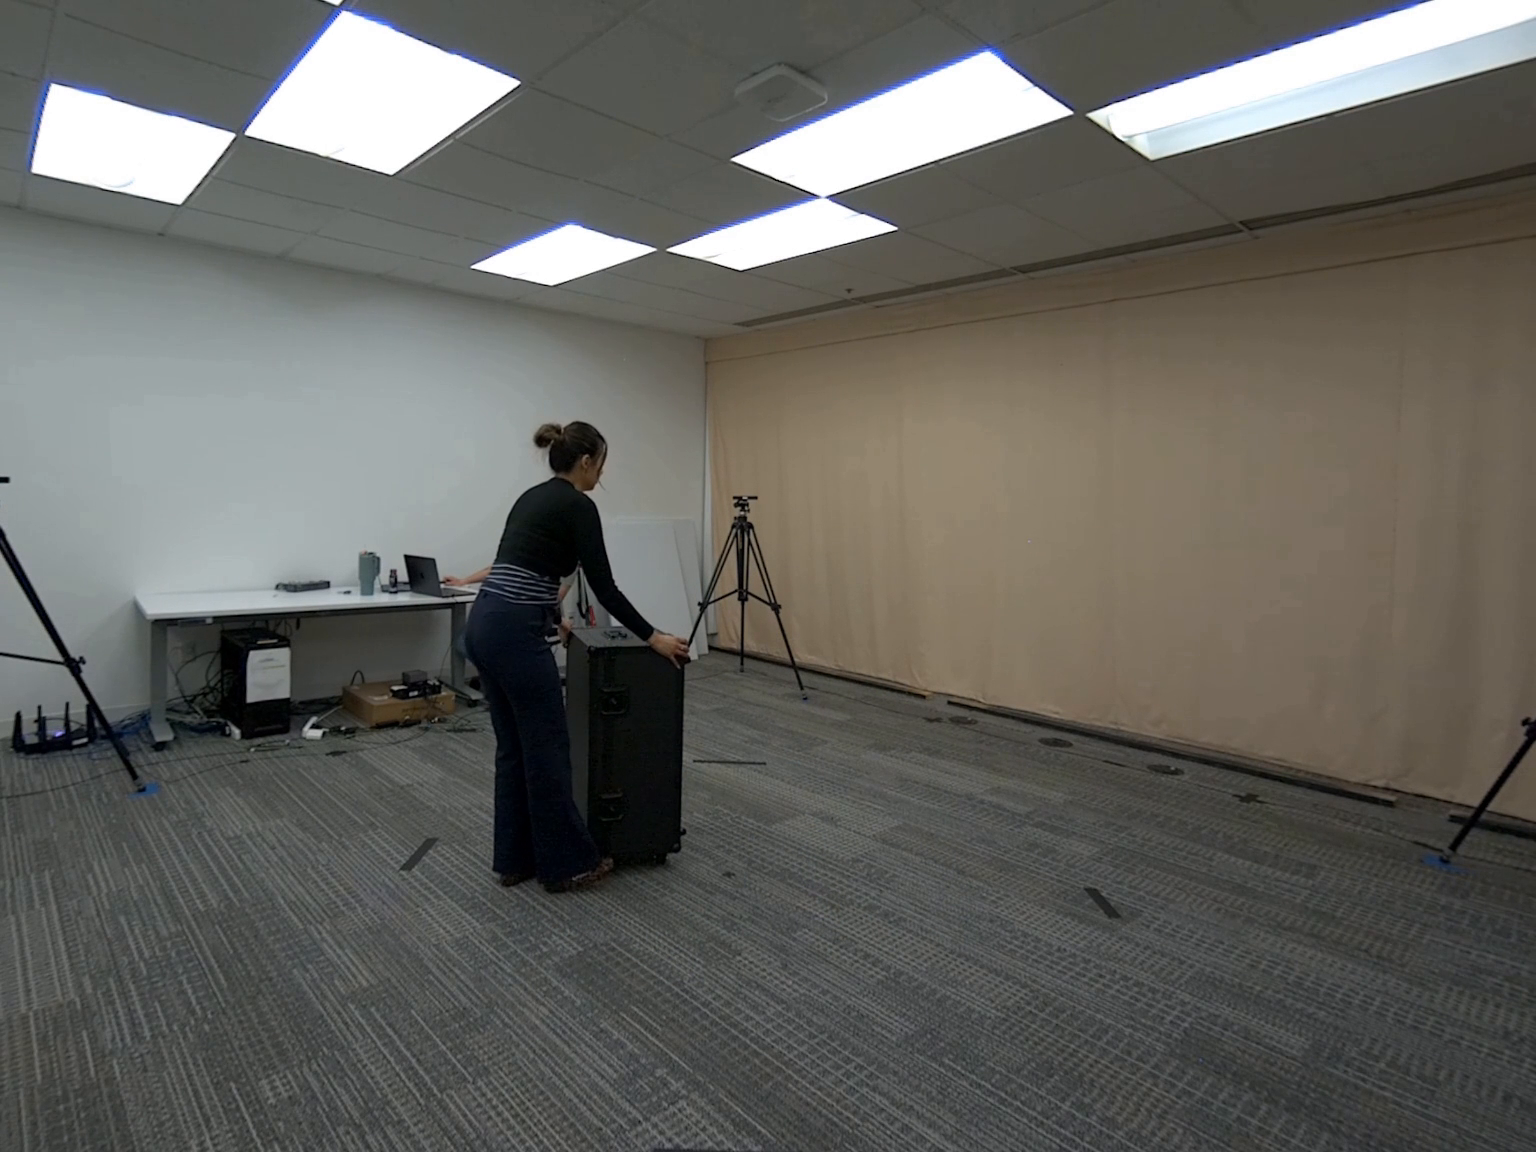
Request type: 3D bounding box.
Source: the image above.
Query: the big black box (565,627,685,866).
[{"bbox_3d":[-0.567,0.650,3.278,0.389,0.860,0.531,1,3,-23],"label":"big black box"}]
